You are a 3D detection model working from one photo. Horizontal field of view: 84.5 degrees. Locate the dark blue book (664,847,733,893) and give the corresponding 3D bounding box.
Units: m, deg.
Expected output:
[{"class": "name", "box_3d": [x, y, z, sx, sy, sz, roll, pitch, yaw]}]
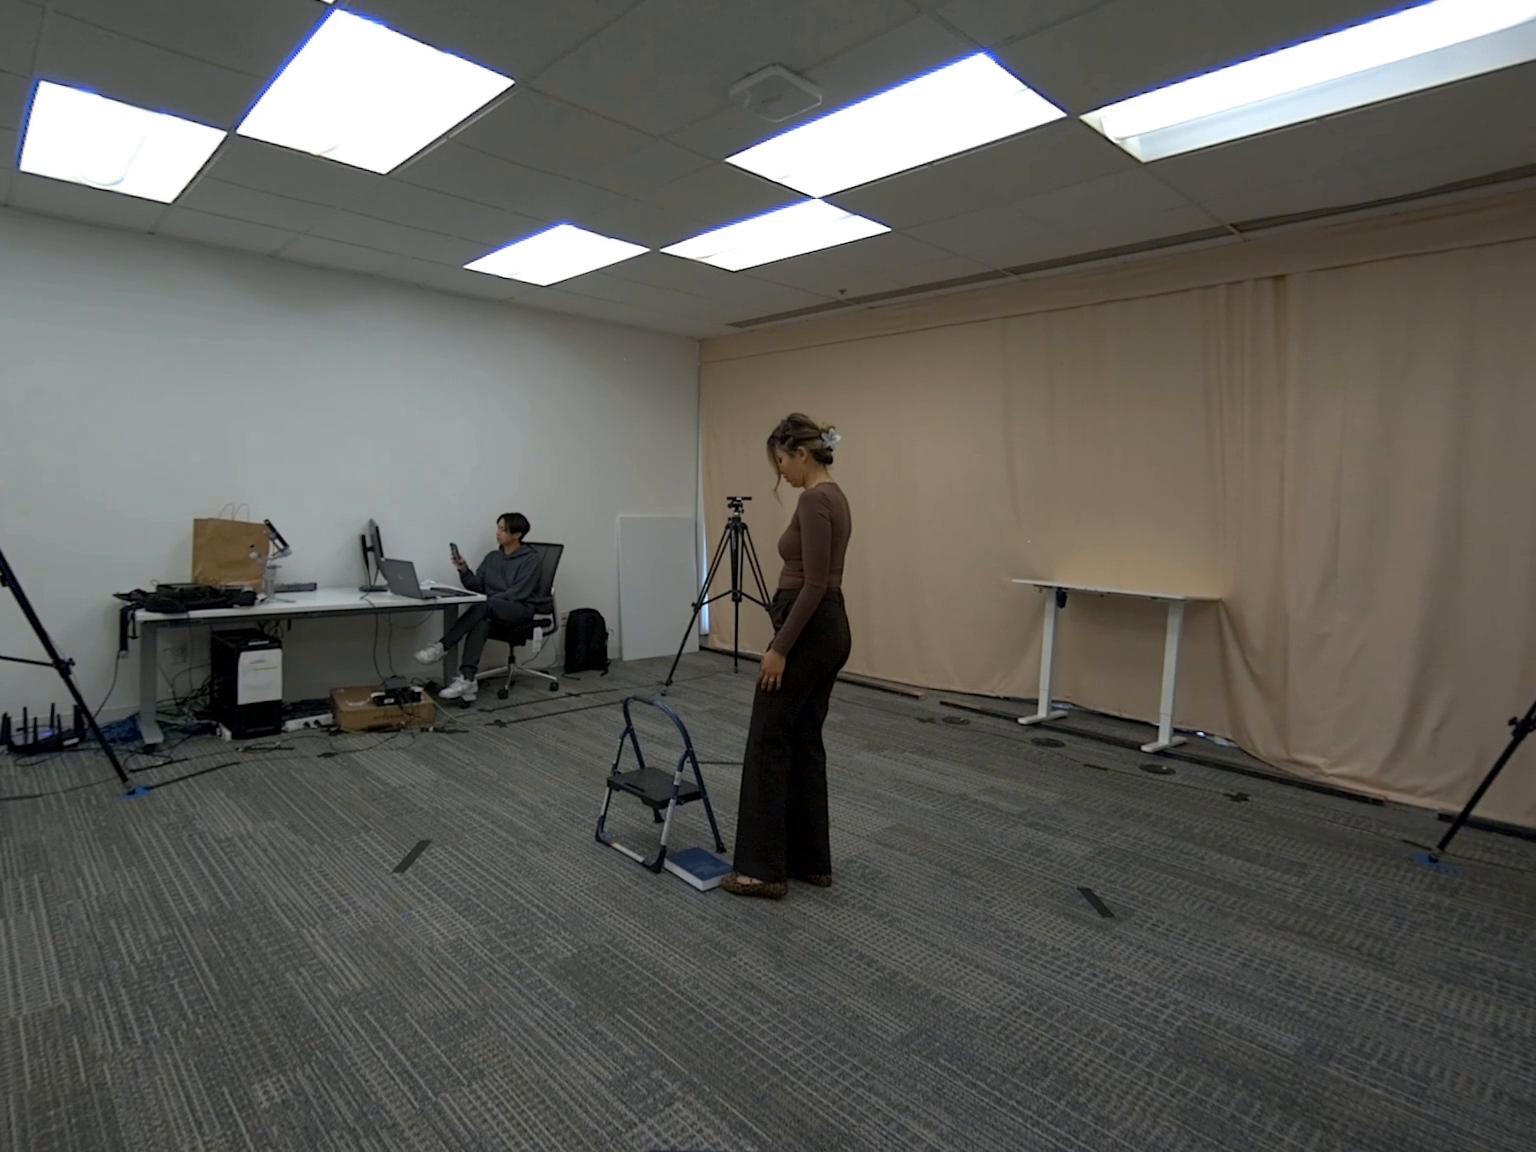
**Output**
[{"class": "dark blue book", "box_3d": [-0.254, 1.075, 3.110, 0.160, 0.045, 0.251, -3, 7, -40]}]
